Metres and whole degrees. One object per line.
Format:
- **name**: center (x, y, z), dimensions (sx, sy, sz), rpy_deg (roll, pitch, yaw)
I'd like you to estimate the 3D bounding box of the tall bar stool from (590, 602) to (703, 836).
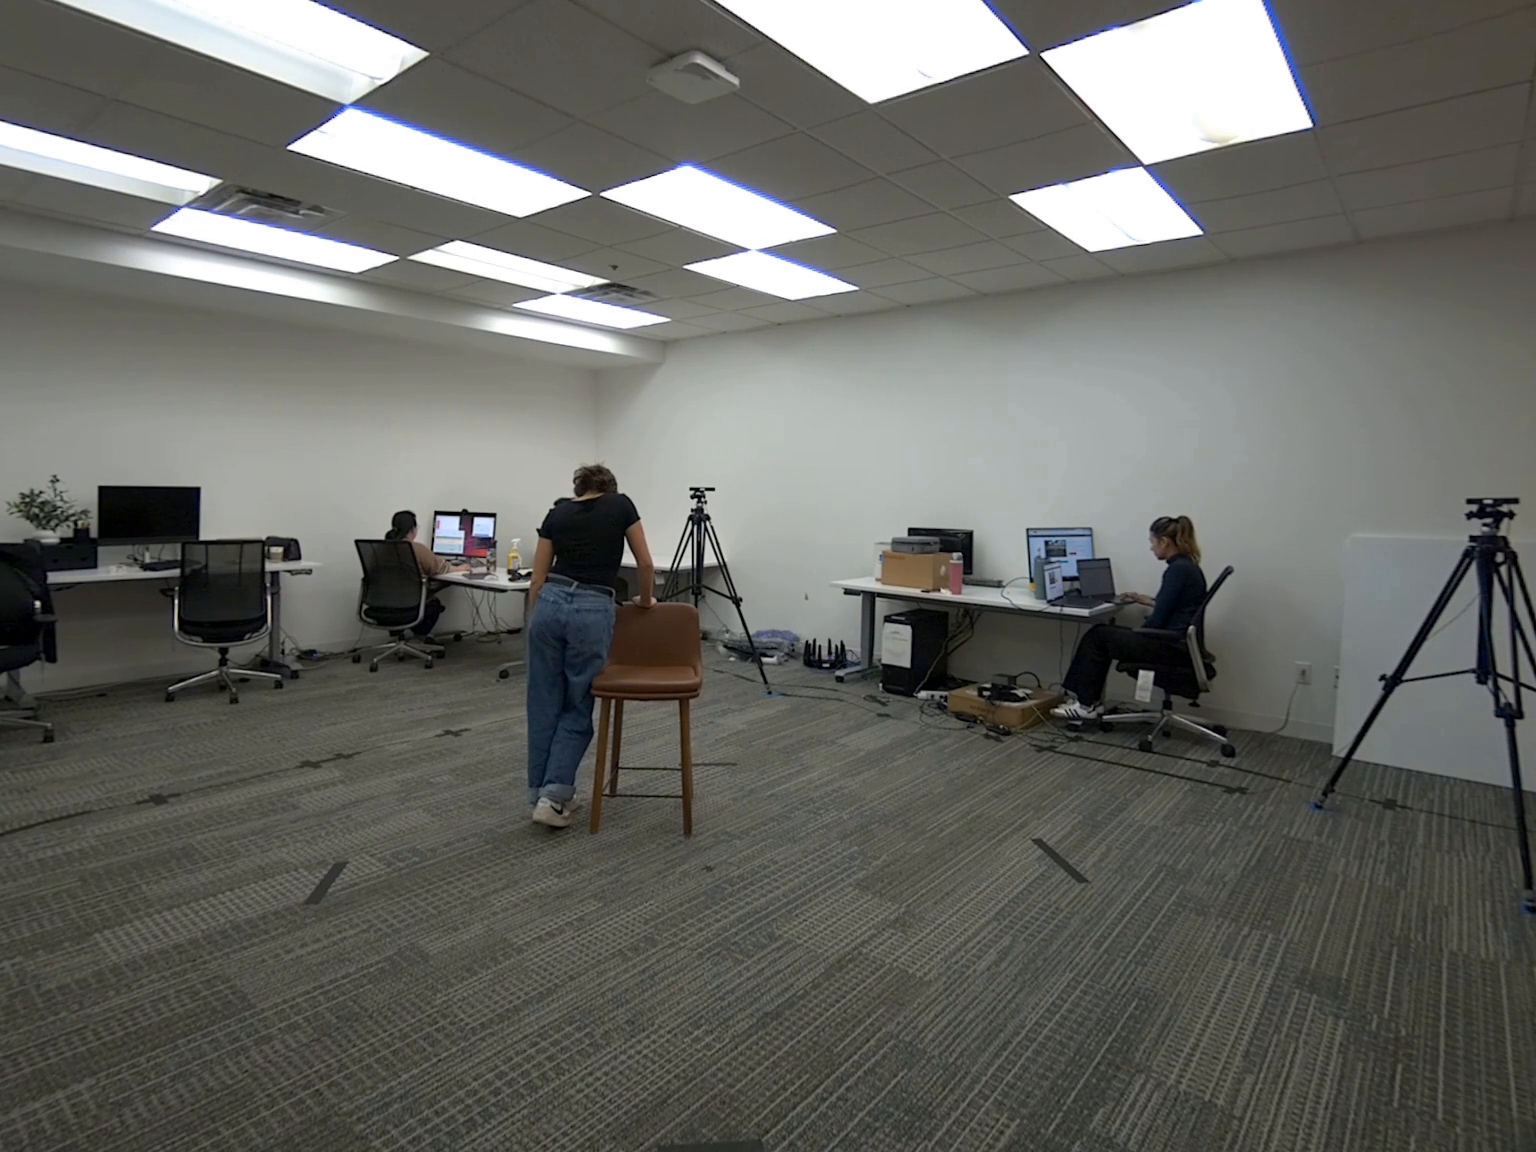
- **tall bar stool**: center (-0.519, 0.577, 3.613), dimensions (0.457, 0.889, 0.468), rpy_deg (0, 1, 0)
